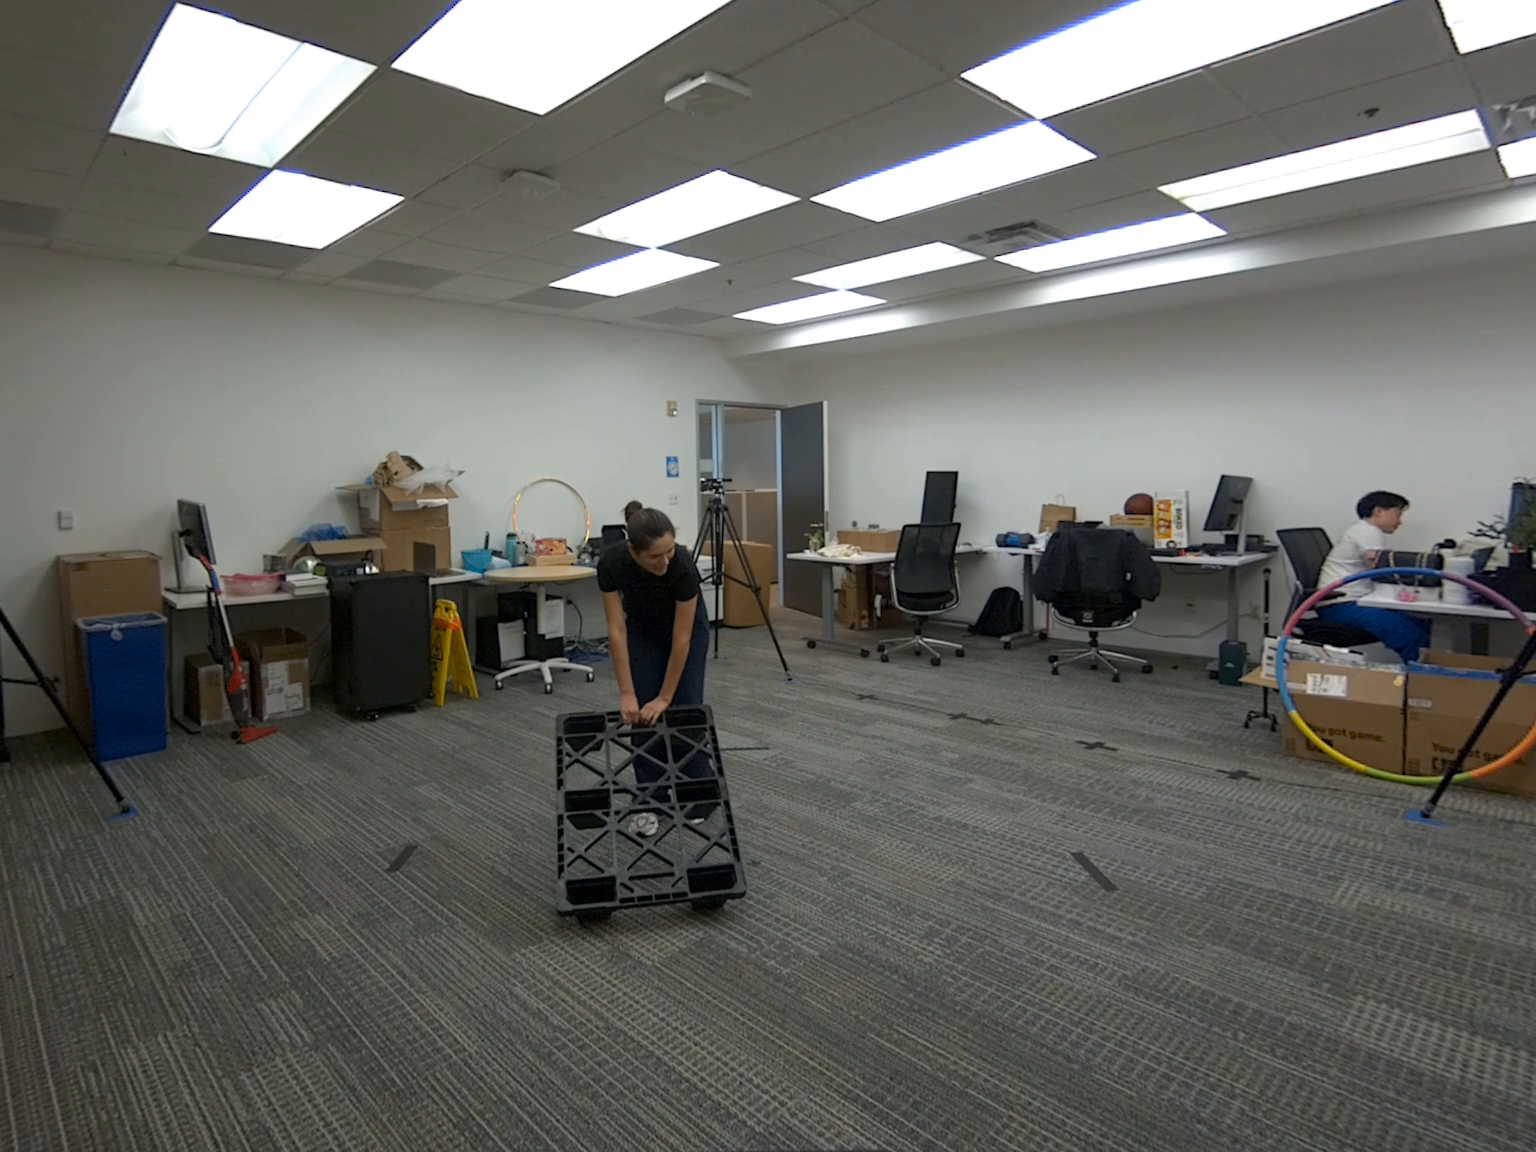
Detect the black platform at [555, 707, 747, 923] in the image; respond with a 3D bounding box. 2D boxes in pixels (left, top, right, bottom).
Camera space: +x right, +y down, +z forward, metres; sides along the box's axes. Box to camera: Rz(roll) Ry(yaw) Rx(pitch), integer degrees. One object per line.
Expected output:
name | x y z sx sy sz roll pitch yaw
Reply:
black platform | -0.441 0.807 3.026 0.599 0.140 0.833 -2 38 -12
